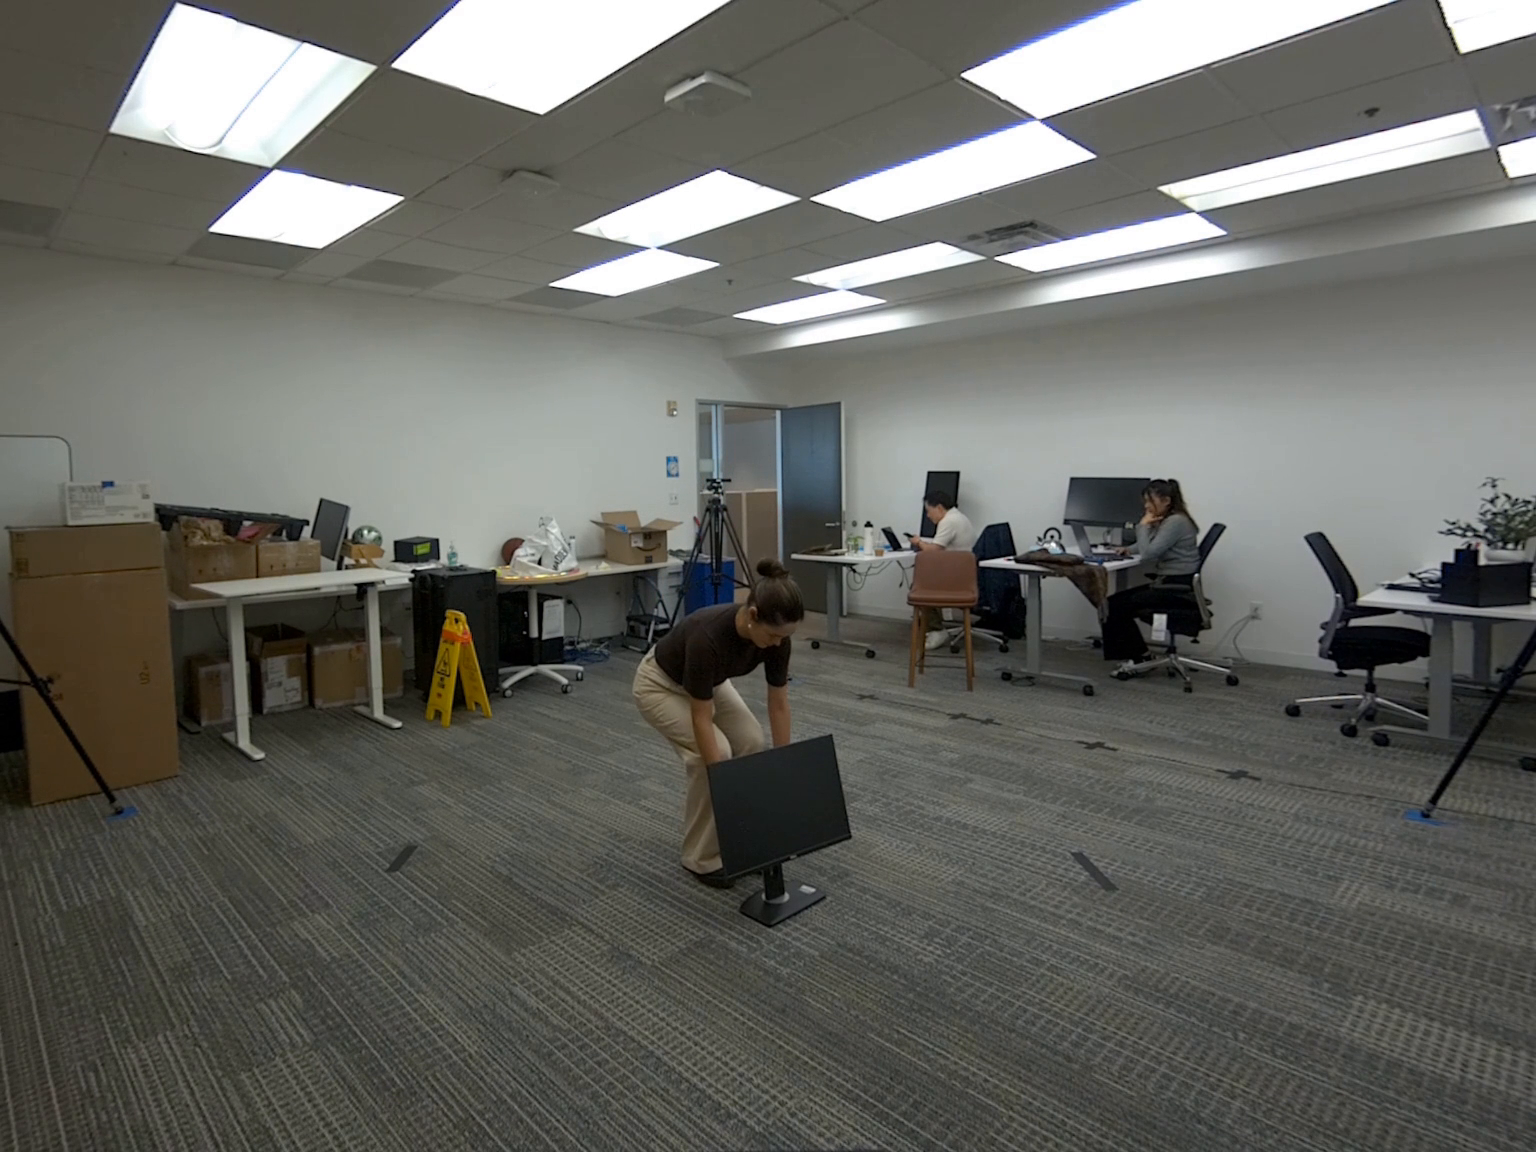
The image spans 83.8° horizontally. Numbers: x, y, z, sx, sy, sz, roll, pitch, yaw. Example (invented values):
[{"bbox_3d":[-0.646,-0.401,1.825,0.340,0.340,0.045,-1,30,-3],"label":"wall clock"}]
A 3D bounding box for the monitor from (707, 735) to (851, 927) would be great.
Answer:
[{"bbox_3d":[0.027,0.827,2.798,0.525,0.521,0.192,-5,4,-42],"label":"monitor"}]
